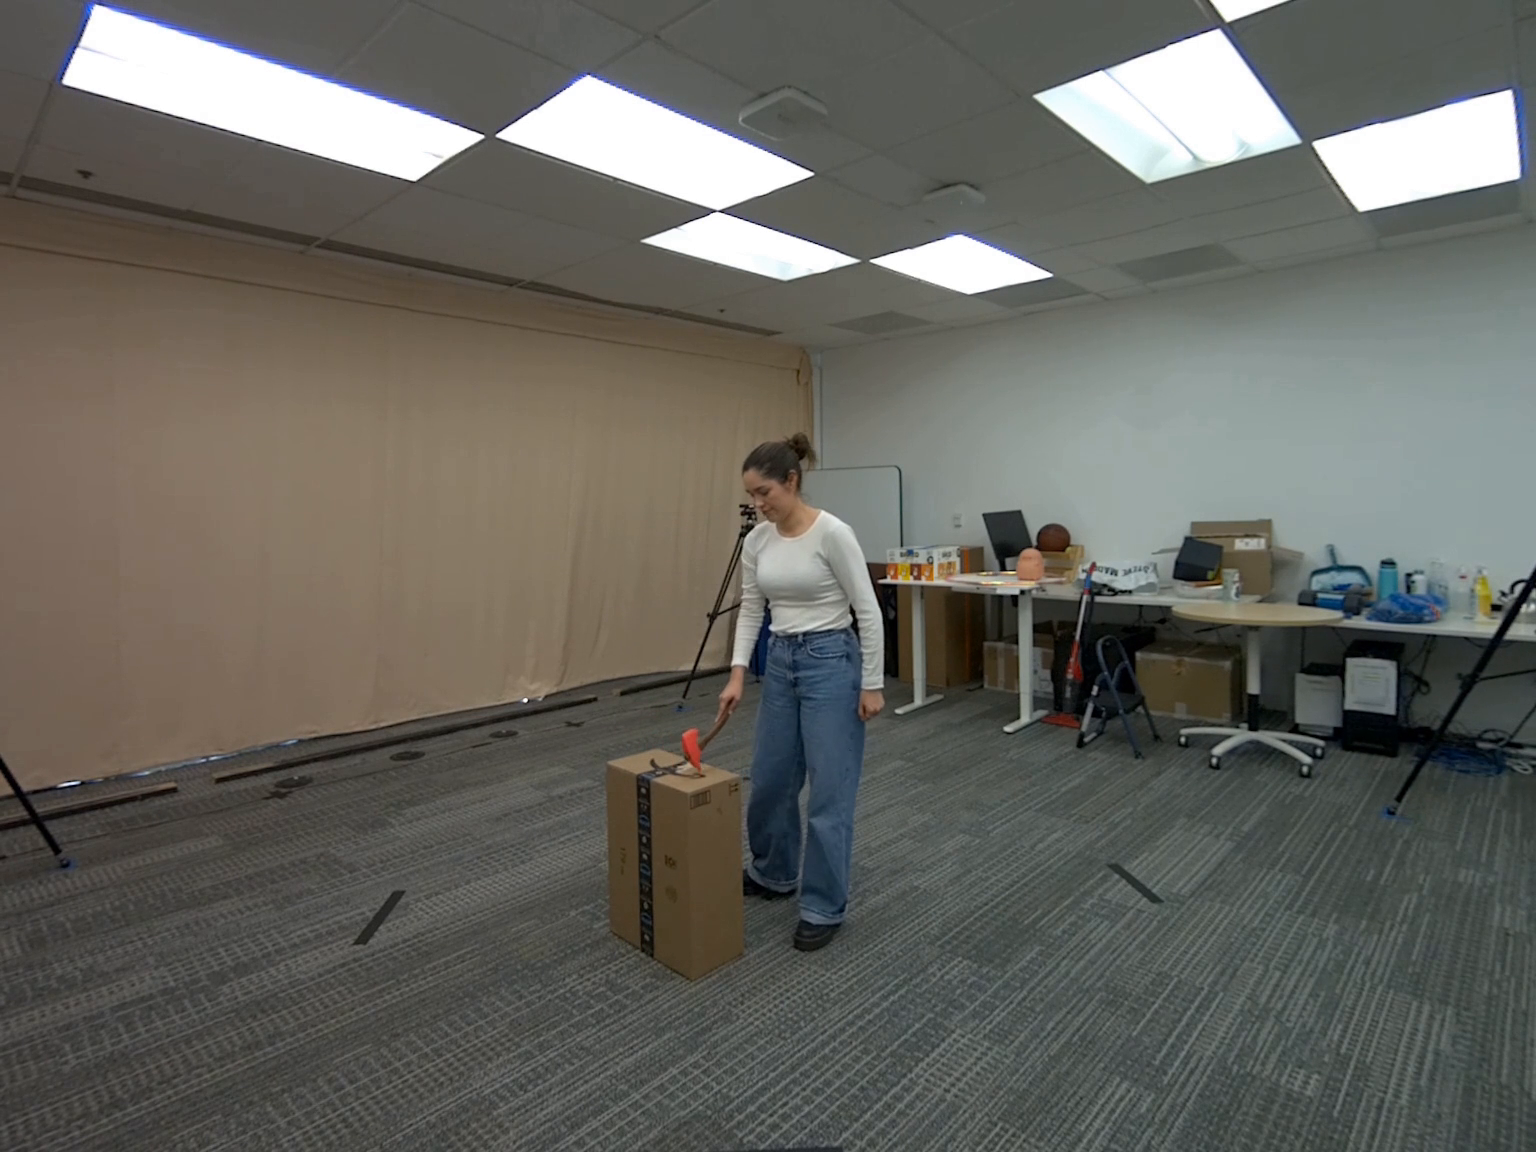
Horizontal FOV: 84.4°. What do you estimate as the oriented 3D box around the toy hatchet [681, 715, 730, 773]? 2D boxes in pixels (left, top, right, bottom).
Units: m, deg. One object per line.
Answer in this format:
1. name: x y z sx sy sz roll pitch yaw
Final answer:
1. toy hatchet: -0.201 0.476 2.654 0.030 0.127 0.269 -5 43 45
